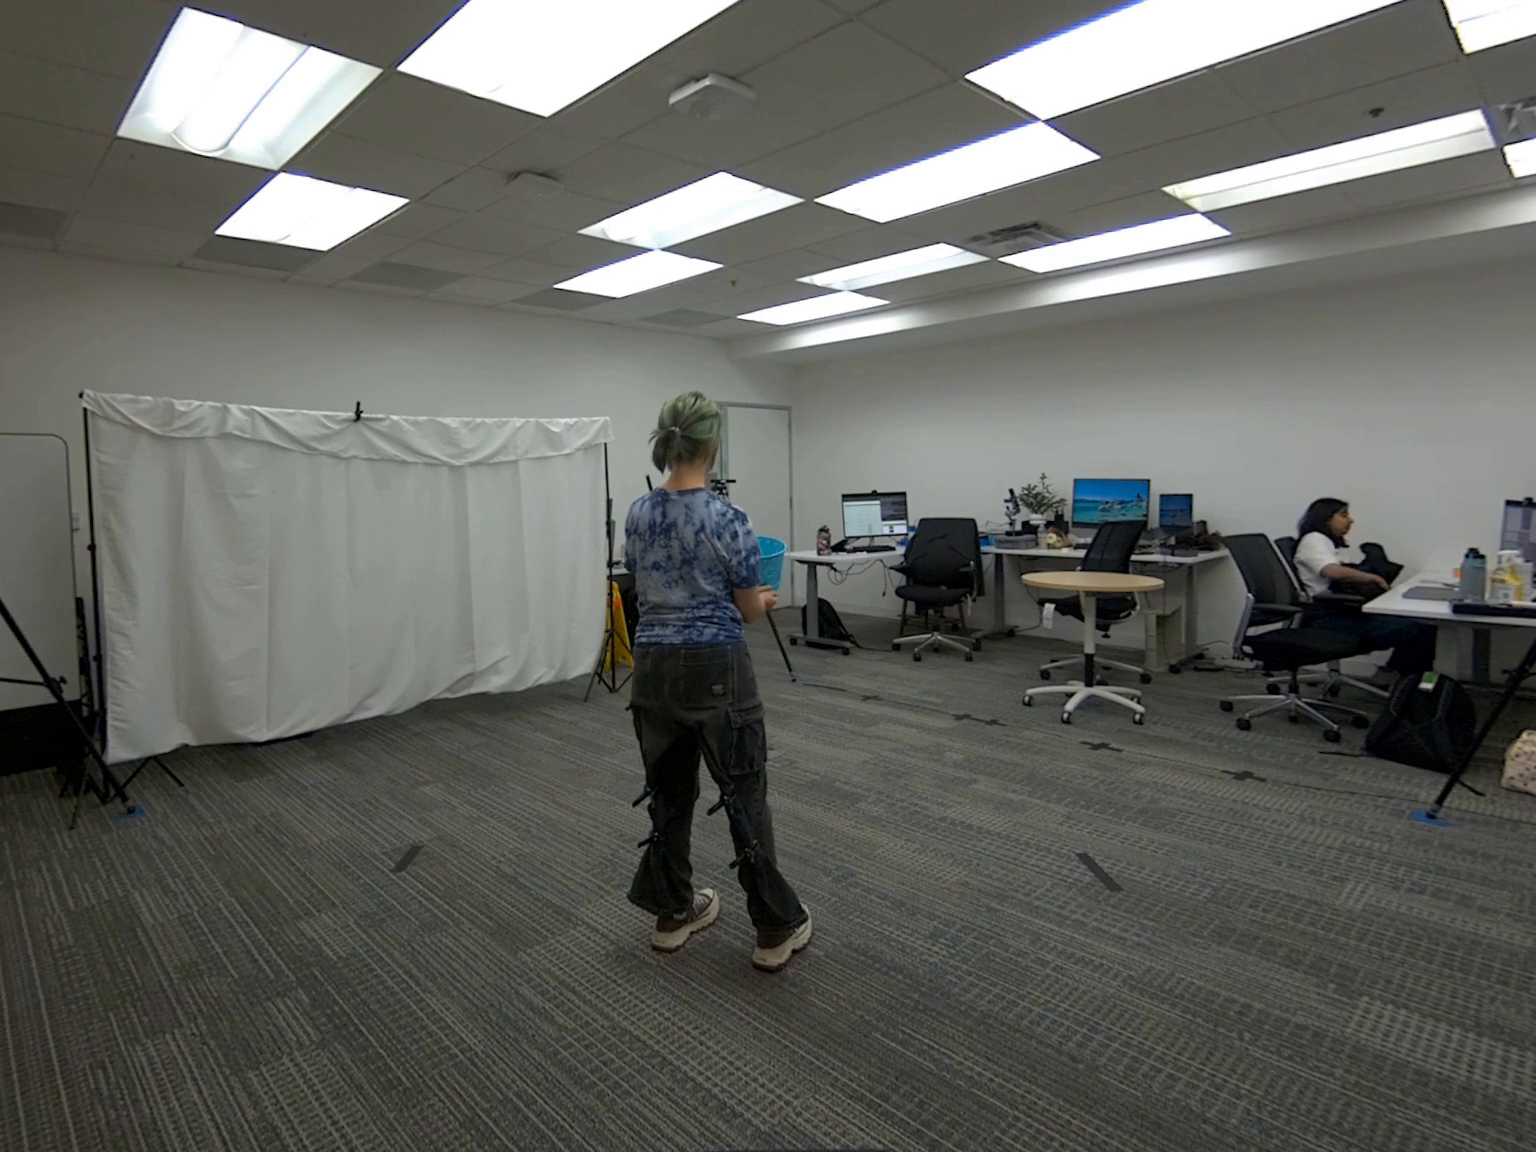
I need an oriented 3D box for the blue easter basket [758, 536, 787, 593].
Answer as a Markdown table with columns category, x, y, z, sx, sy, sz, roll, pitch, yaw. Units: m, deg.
| category | x | y | z | sx | sy | sz | roll | pitch | yaw |
| --- | --- | --- | --- | --- | --- | --- | --- | --- | --- |
| blue easter basket | -0.040 | -0.024 | 2.878 | 0.243 | 0.153 | 0.247 | -1 | 18 | -1 |
